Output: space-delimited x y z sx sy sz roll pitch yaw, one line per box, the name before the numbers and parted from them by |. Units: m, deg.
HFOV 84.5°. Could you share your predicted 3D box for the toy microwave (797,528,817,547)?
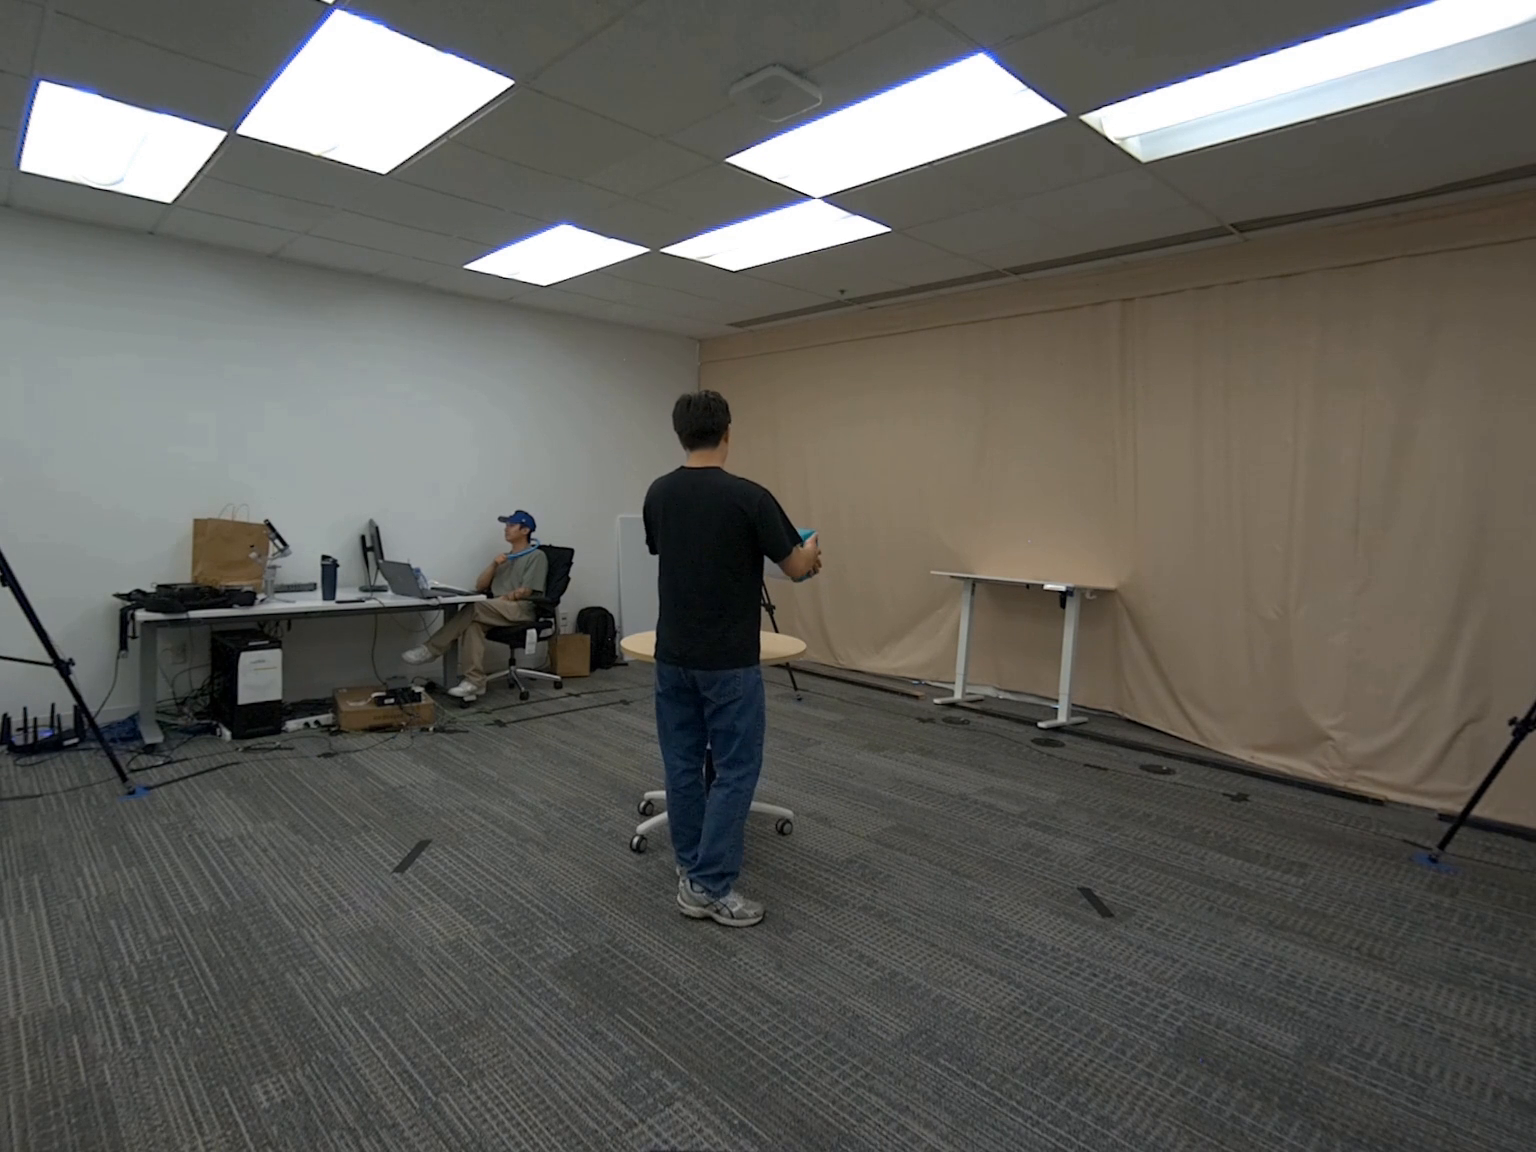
toy microwave | 0.034 -0.080 3.218 0.293 0.182 0.150 7 14 31
